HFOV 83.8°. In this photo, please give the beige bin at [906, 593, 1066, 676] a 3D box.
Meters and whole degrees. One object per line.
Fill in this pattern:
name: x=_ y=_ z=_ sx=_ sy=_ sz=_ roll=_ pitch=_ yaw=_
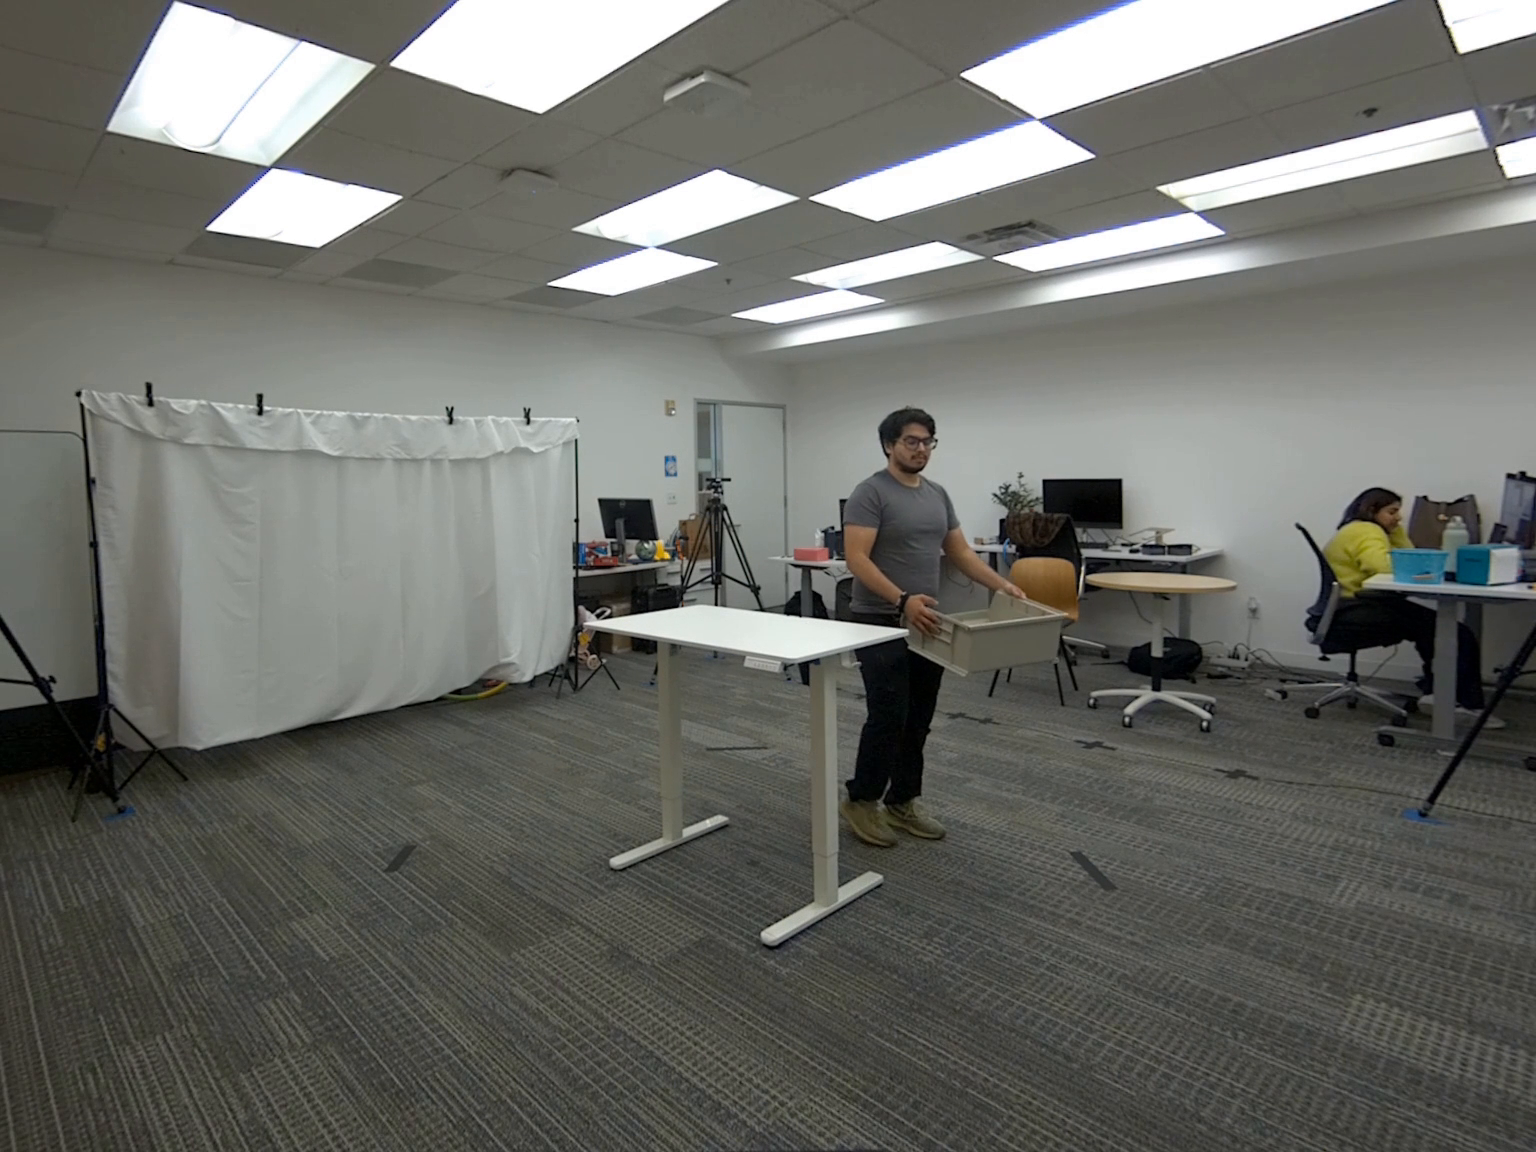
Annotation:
beige bin: x=0.749 y=0.189 z=3.010 sx=0.414 sy=0.186 sz=0.389 roll=-4 pitch=17 yaw=-23
